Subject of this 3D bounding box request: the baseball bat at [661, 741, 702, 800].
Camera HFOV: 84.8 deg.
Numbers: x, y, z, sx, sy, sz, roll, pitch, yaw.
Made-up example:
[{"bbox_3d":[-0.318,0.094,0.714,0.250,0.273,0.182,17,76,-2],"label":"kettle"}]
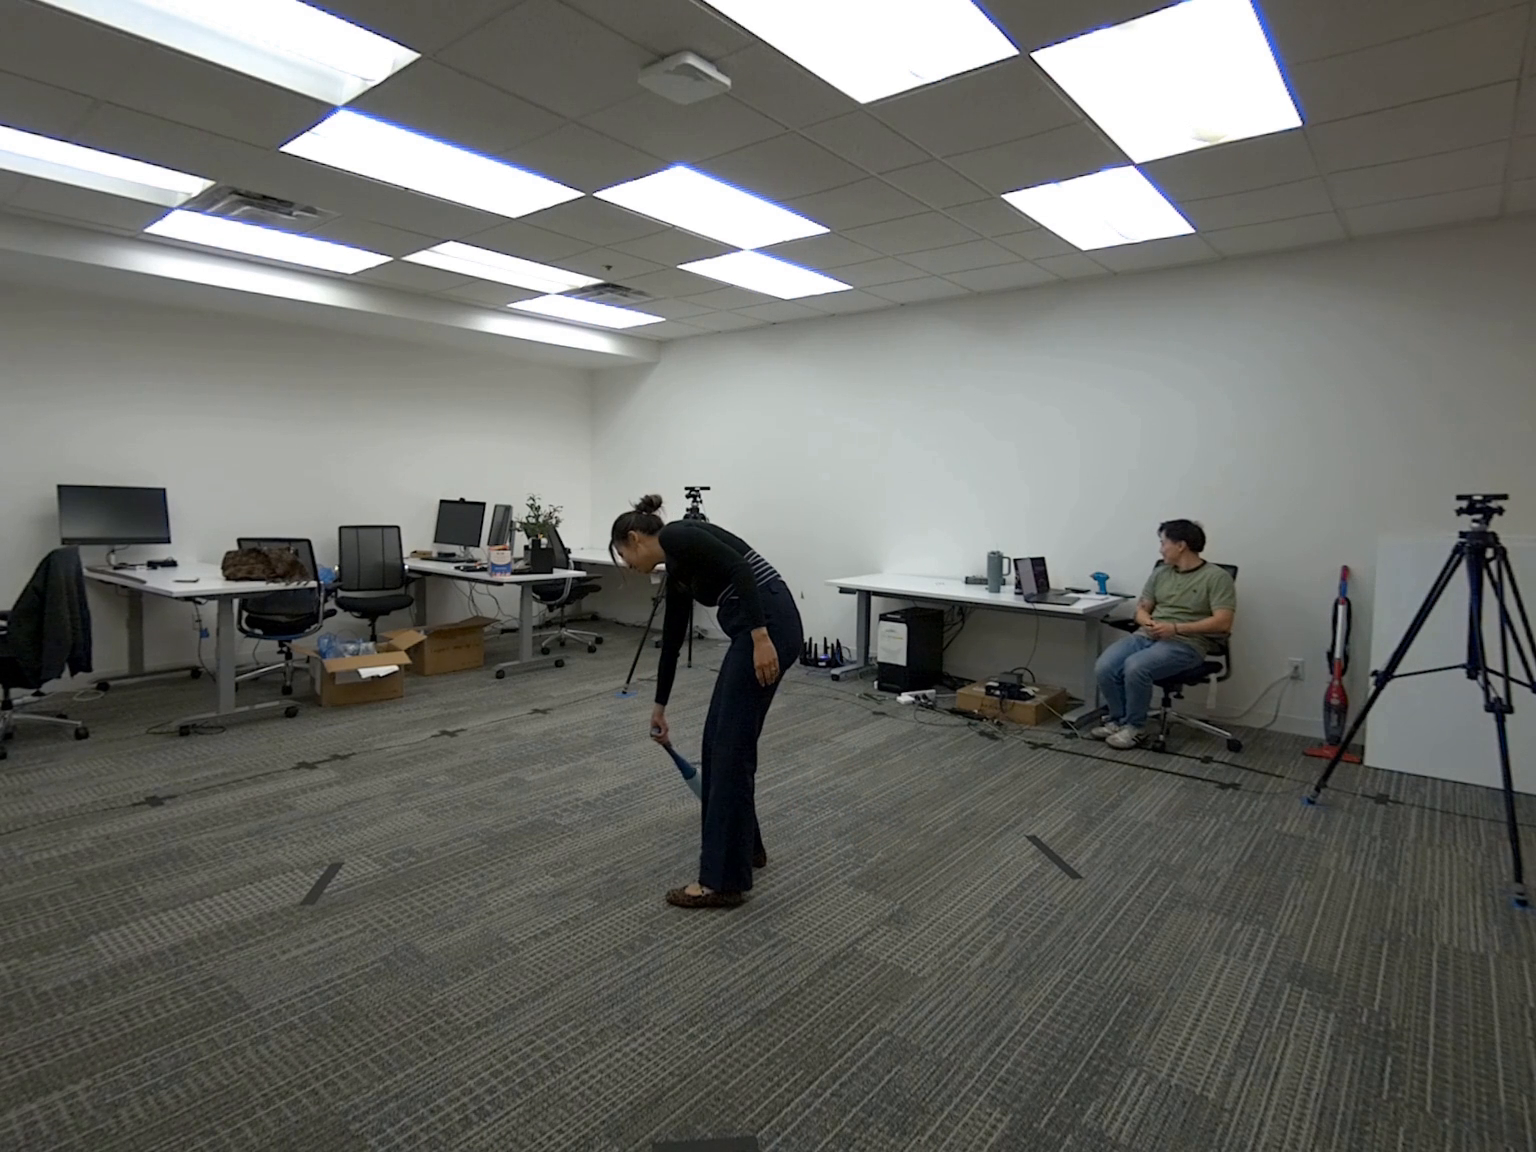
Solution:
[{"bbox_3d":[-0.349,0.804,3.519,0.090,0.523,0.091,-26,32,17],"label":"baseball bat"}]
